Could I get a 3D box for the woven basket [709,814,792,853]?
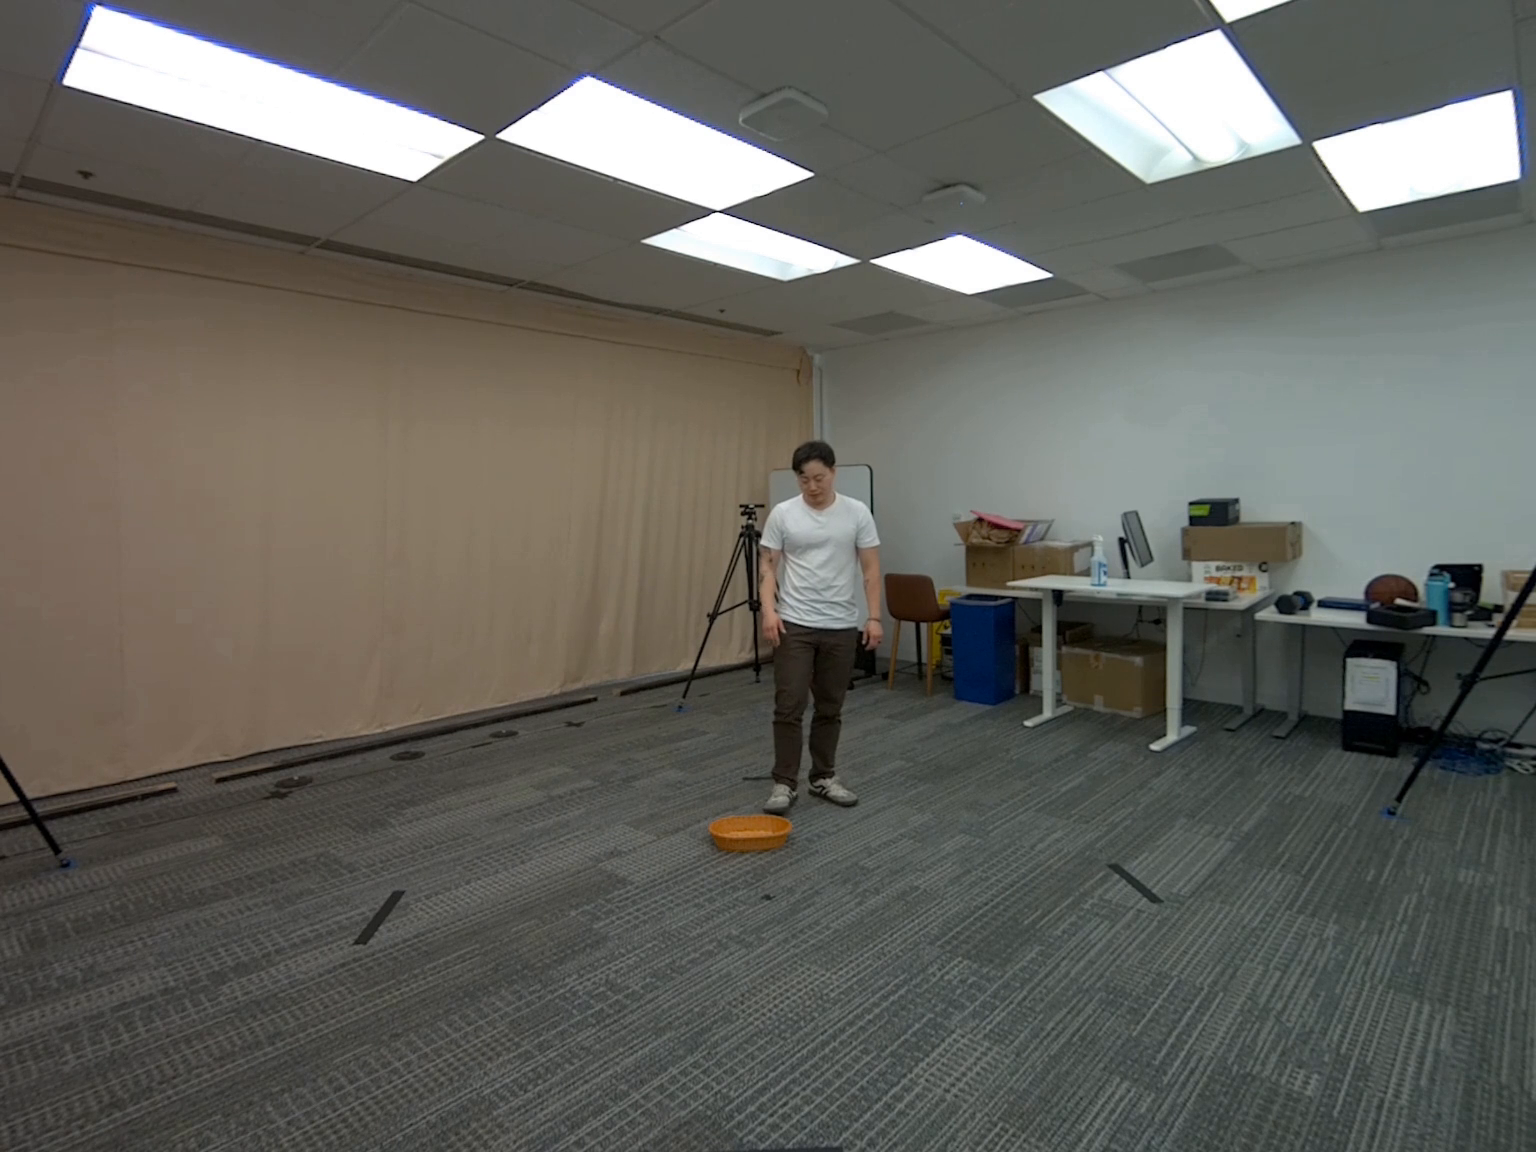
[{"bbox_3d":[-0.074,1.061,3.470,0.348,0.073,0.254,-2,4,-6],"label":"woven basket"}]
